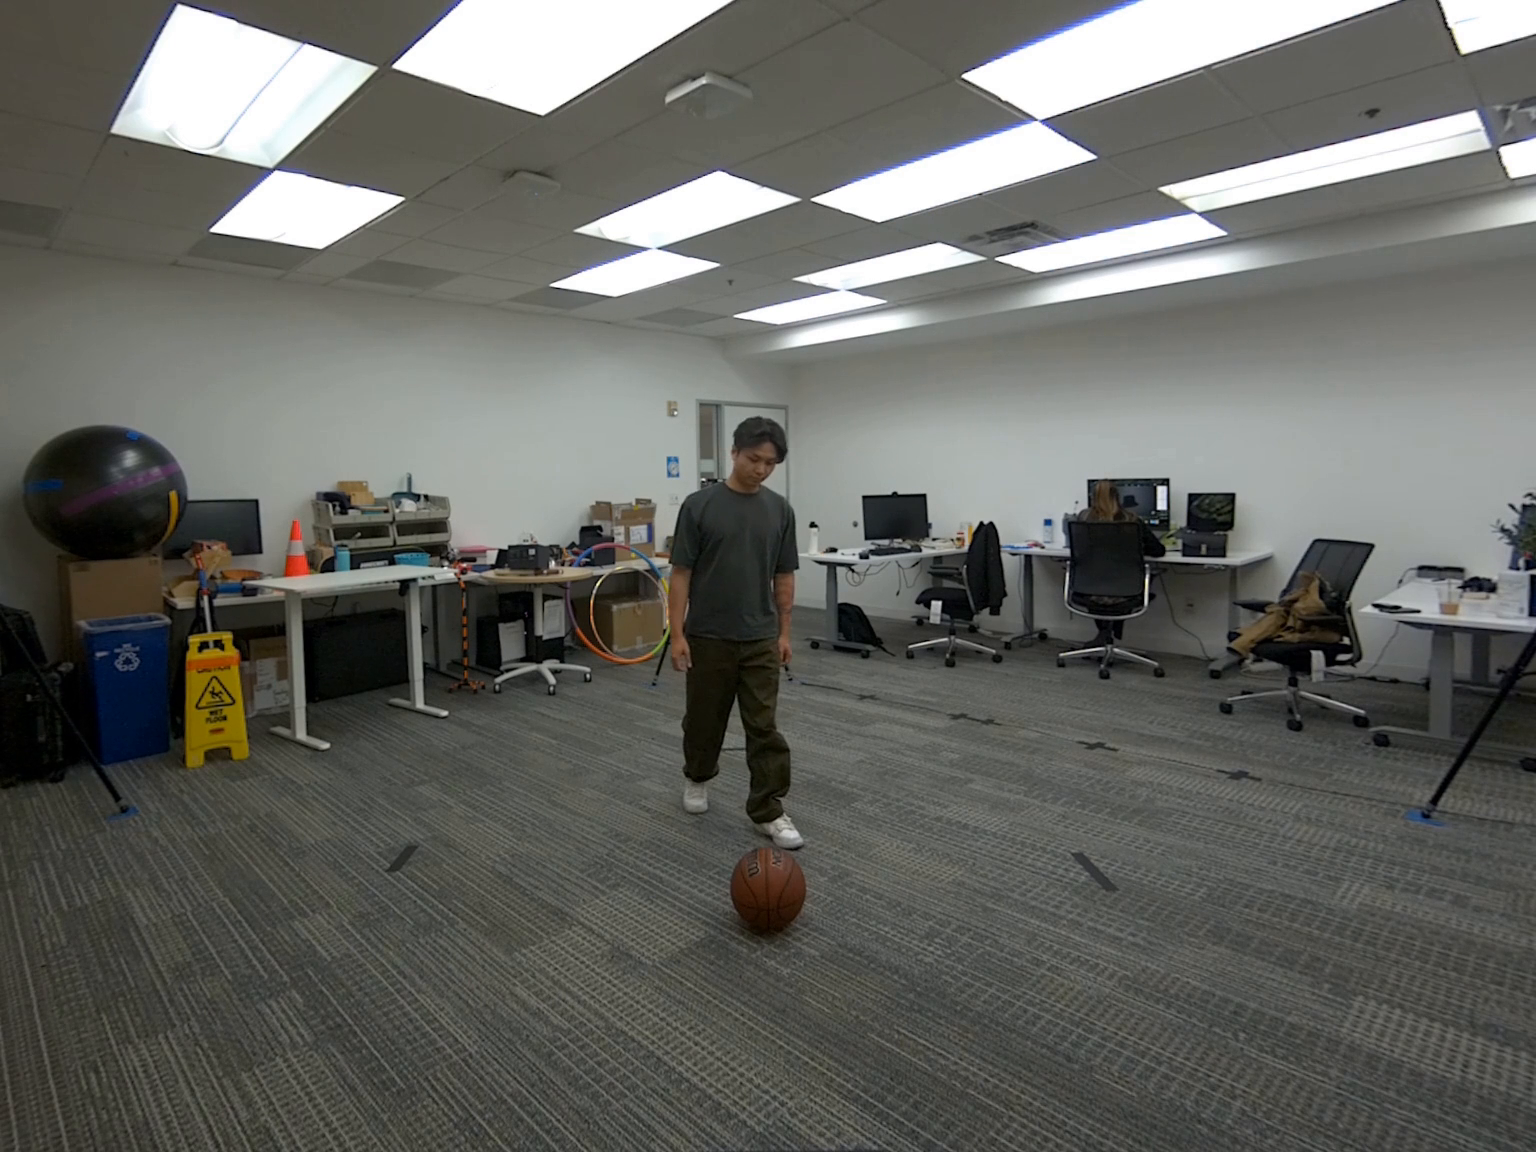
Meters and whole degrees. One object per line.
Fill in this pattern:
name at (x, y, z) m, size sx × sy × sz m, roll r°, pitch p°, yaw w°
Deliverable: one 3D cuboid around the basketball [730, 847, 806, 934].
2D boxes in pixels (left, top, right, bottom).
basketball at (0.010, 0.976, 2.670) m, size 0.236 × 0.235 × 0.237 m, roll -1°, pitch 5°, yaw -2°
